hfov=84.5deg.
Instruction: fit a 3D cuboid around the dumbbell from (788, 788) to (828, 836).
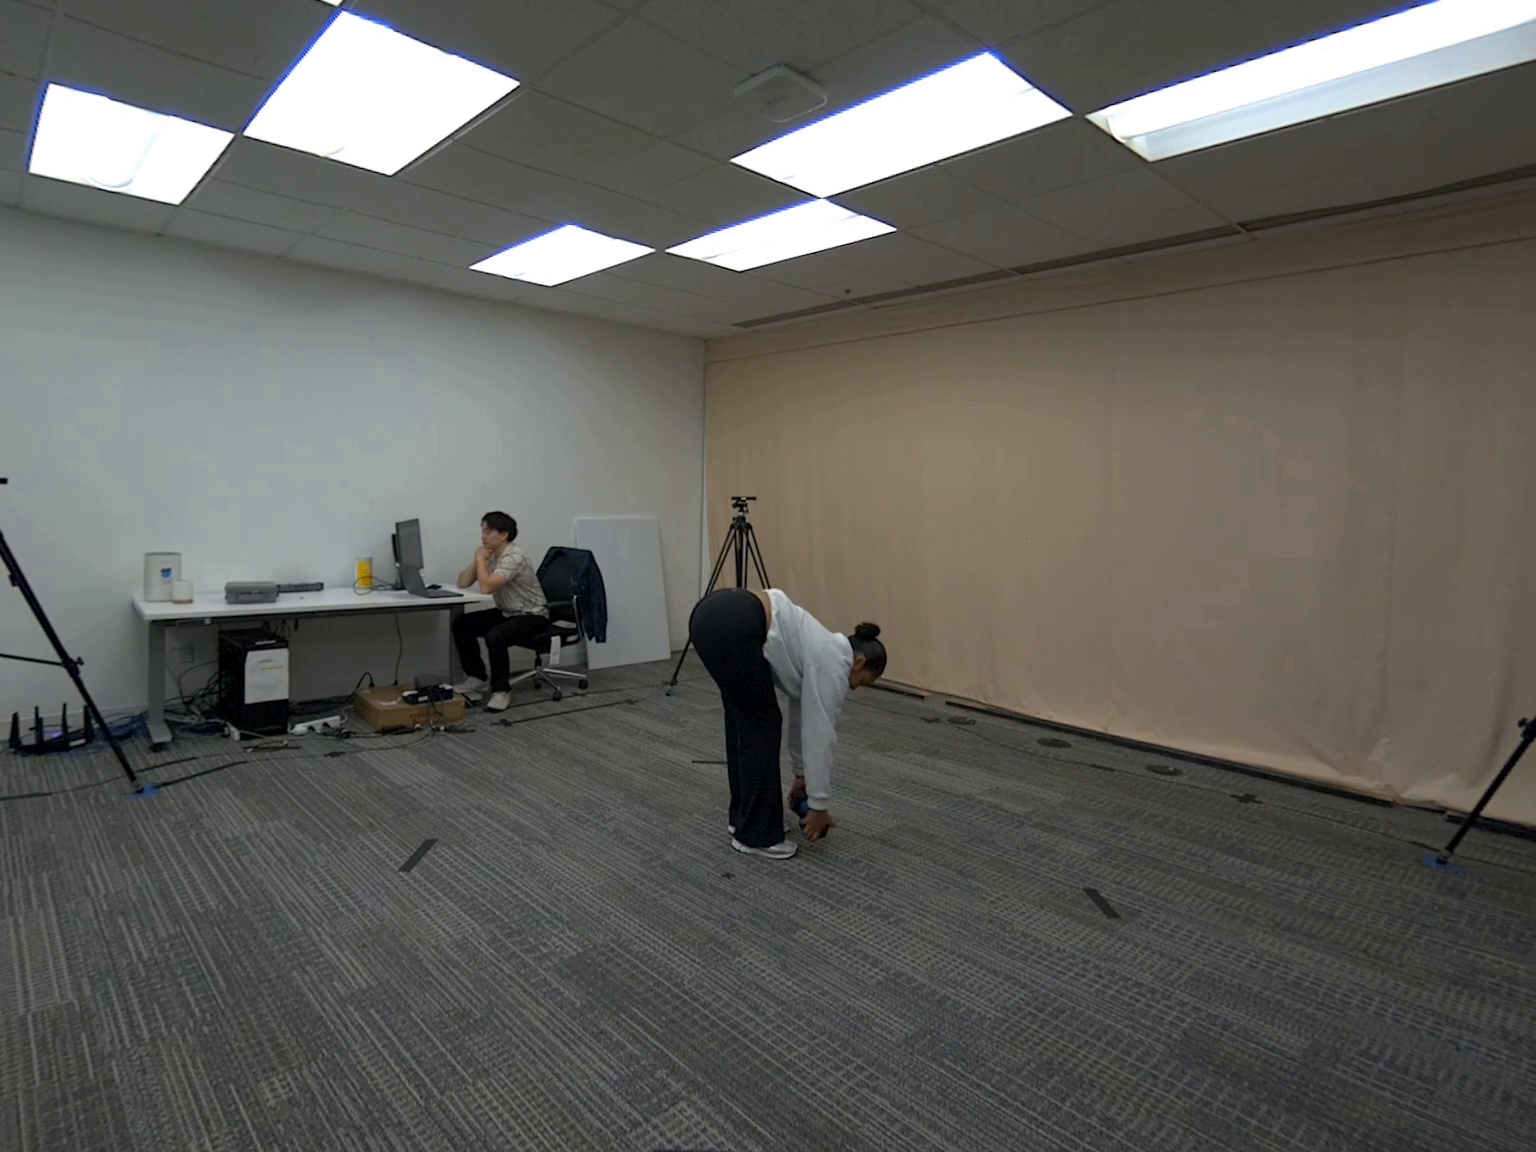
[{"bbox_3d":[0.142,0.964,3.444,0.108,0.122,0.296,-34,9,-4],"label":"dumbbell"}]
